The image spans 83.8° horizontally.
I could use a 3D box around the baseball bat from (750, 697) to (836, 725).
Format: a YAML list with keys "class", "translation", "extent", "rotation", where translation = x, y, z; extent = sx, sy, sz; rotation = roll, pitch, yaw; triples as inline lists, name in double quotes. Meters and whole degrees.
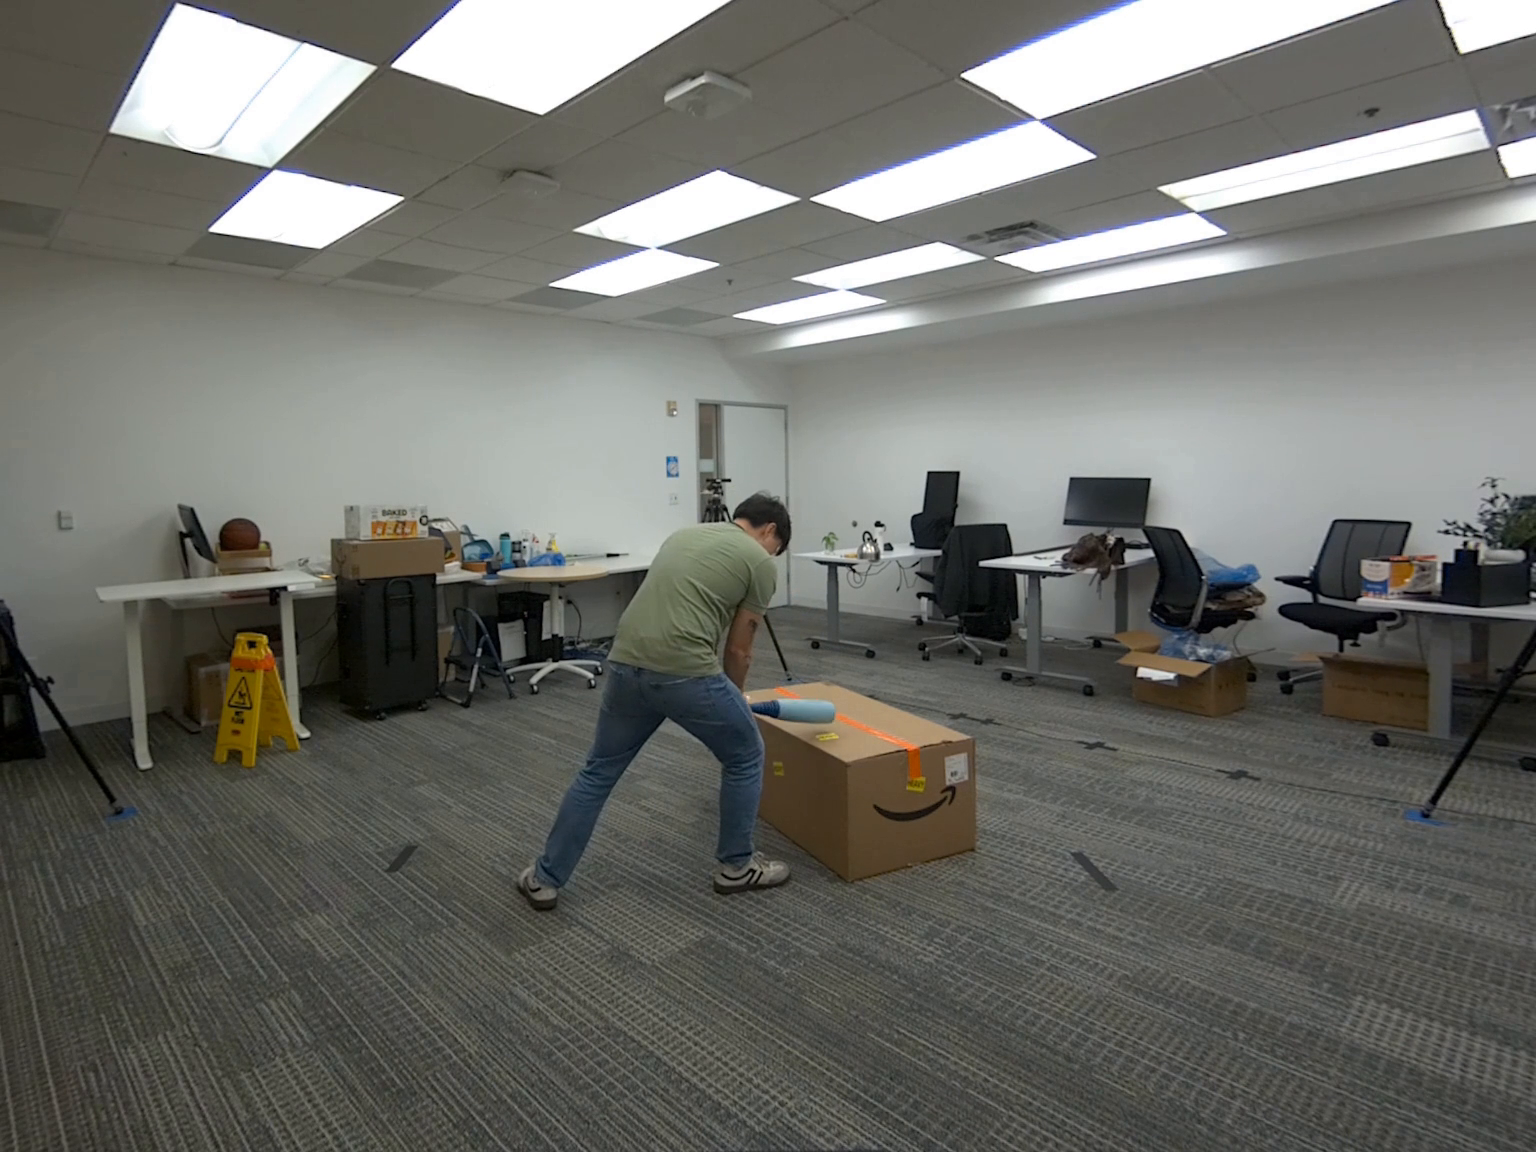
- class: "baseball bat"
  translation: [0.020, 0.480, 3.162]
  extent: [0.530, 0.089, 0.091]
  rotation: [7, 1, -25]
